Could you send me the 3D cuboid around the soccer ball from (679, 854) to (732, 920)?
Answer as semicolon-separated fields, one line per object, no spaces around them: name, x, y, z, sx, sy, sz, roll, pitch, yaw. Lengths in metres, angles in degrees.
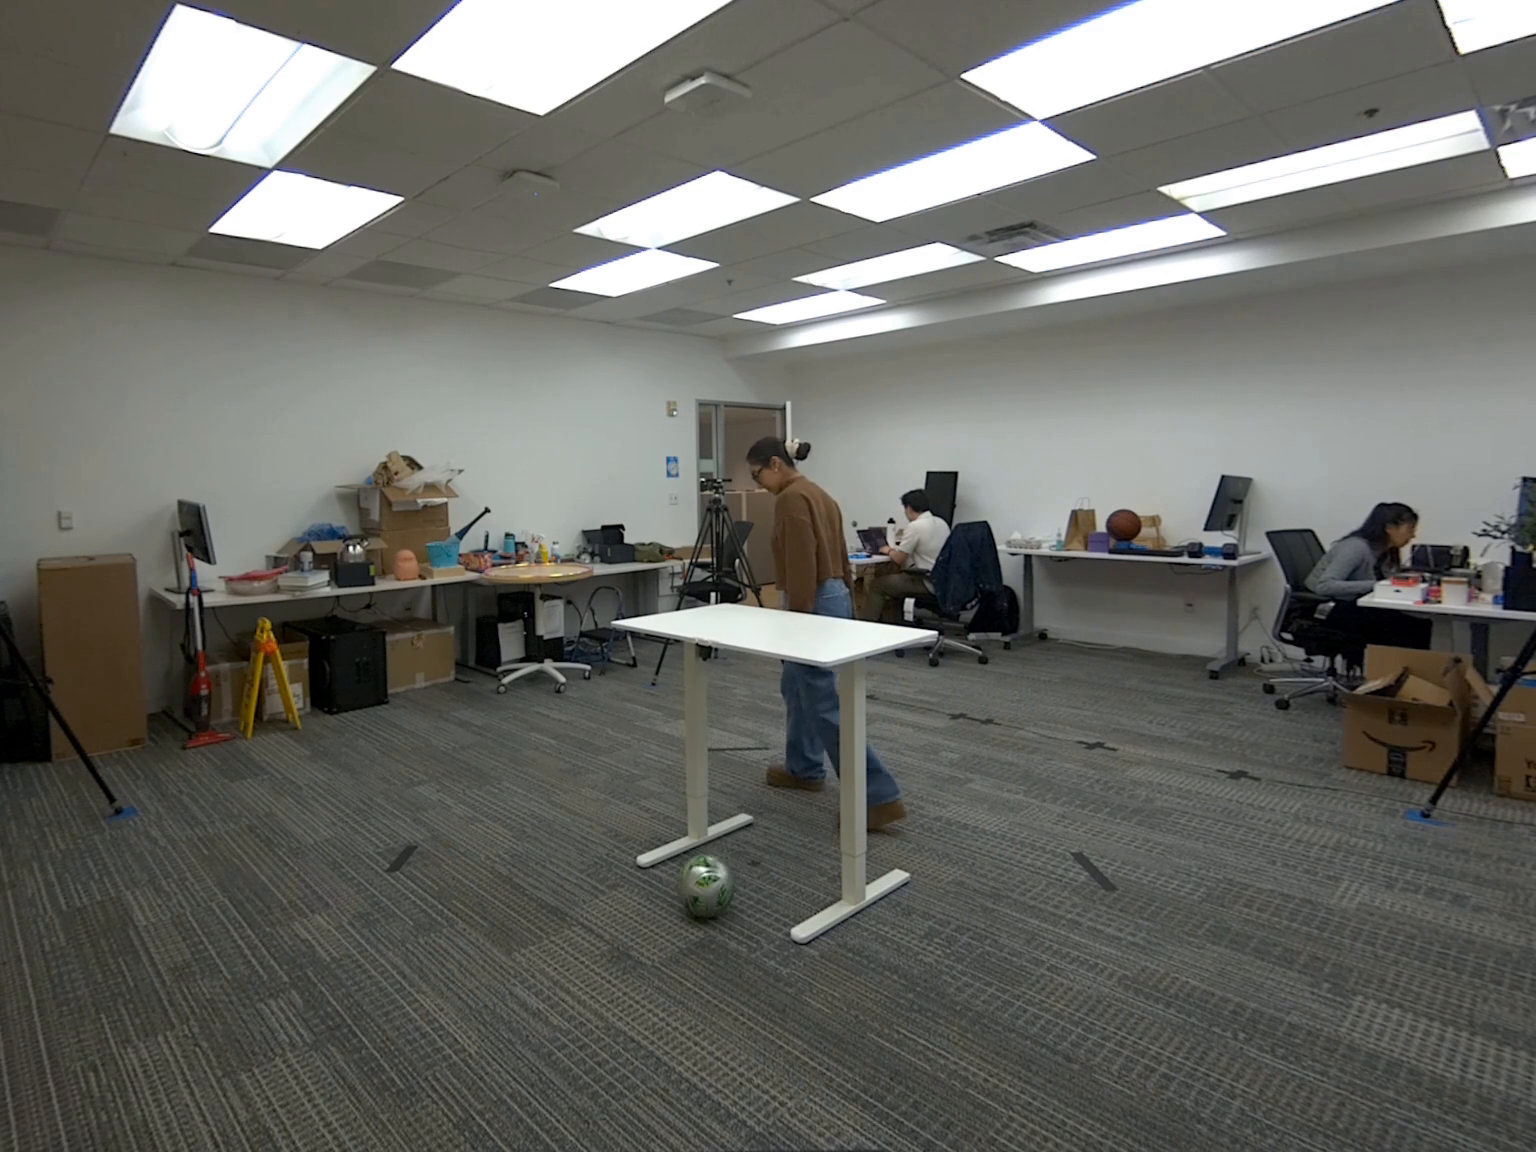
soccer ball;-0.193;0.996;2.737;0.187;0.187;0.188;-1;5;-2
